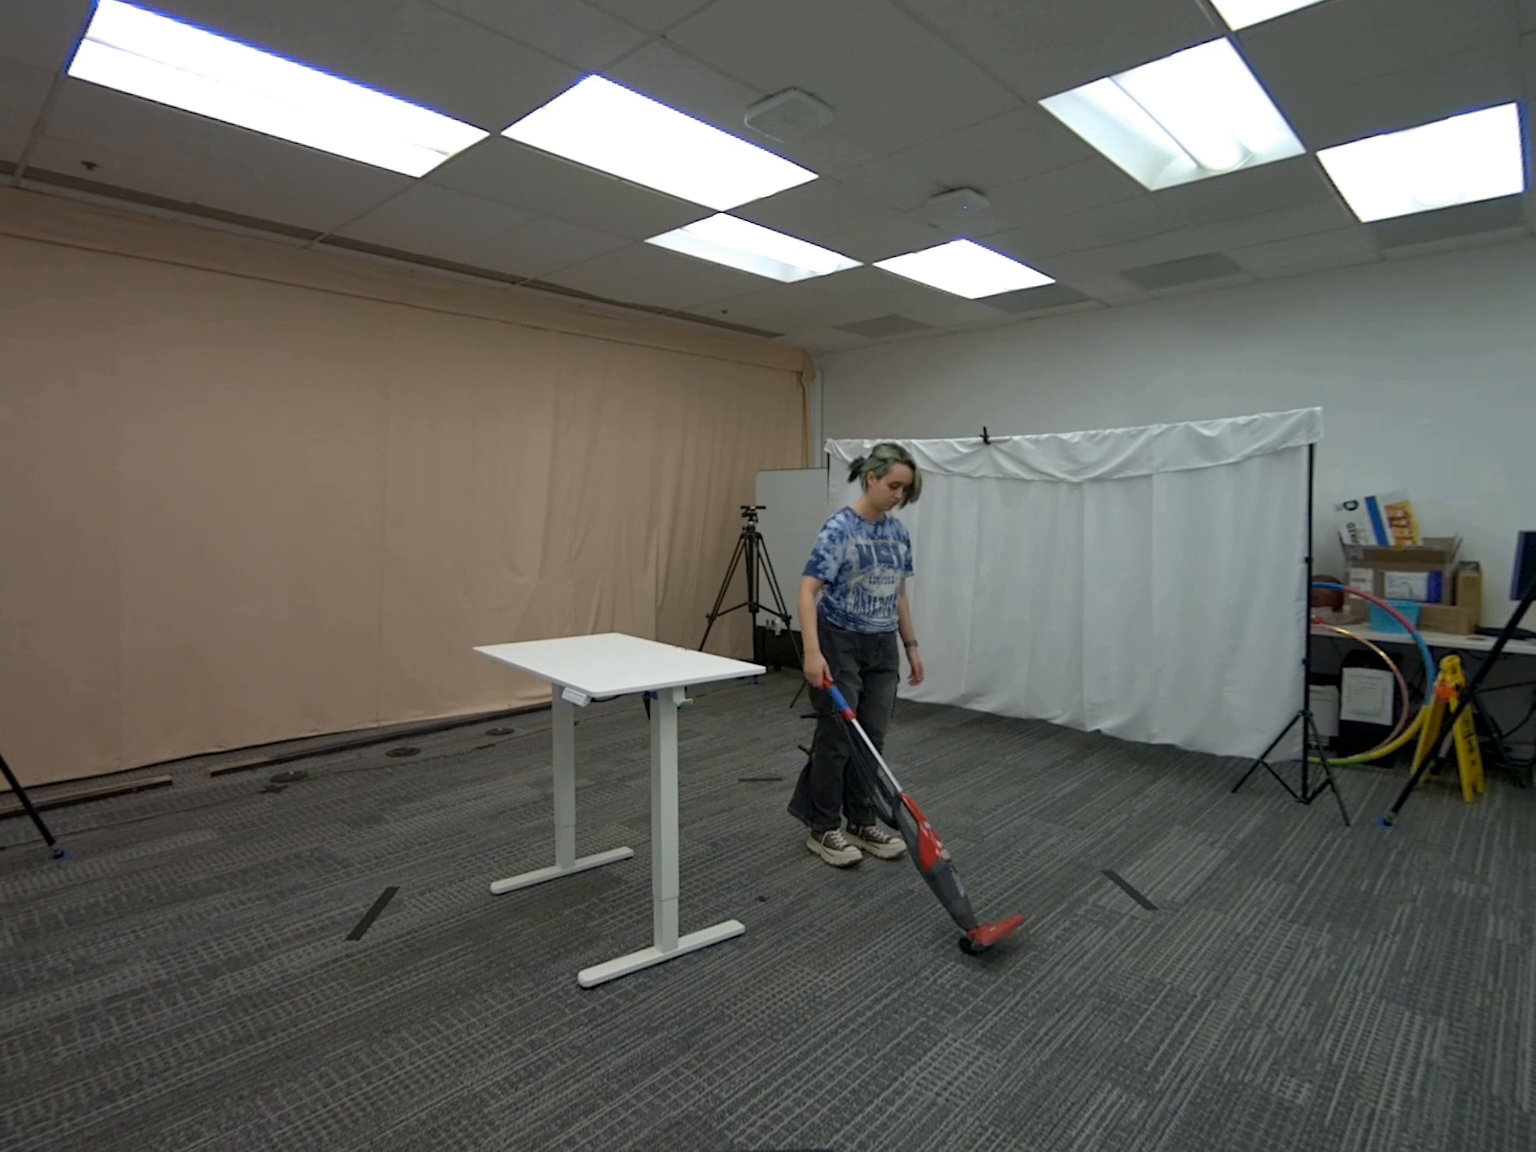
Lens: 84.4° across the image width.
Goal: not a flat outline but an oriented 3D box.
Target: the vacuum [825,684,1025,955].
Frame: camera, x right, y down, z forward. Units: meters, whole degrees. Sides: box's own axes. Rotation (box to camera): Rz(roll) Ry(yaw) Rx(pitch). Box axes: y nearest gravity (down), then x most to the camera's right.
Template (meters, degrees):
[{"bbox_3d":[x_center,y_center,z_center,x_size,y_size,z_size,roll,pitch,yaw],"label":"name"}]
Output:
[{"bbox_3d":[0.440,0.771,2.877,0.244,0.144,1.081,-1,44,-46],"label":"vacuum"}]
